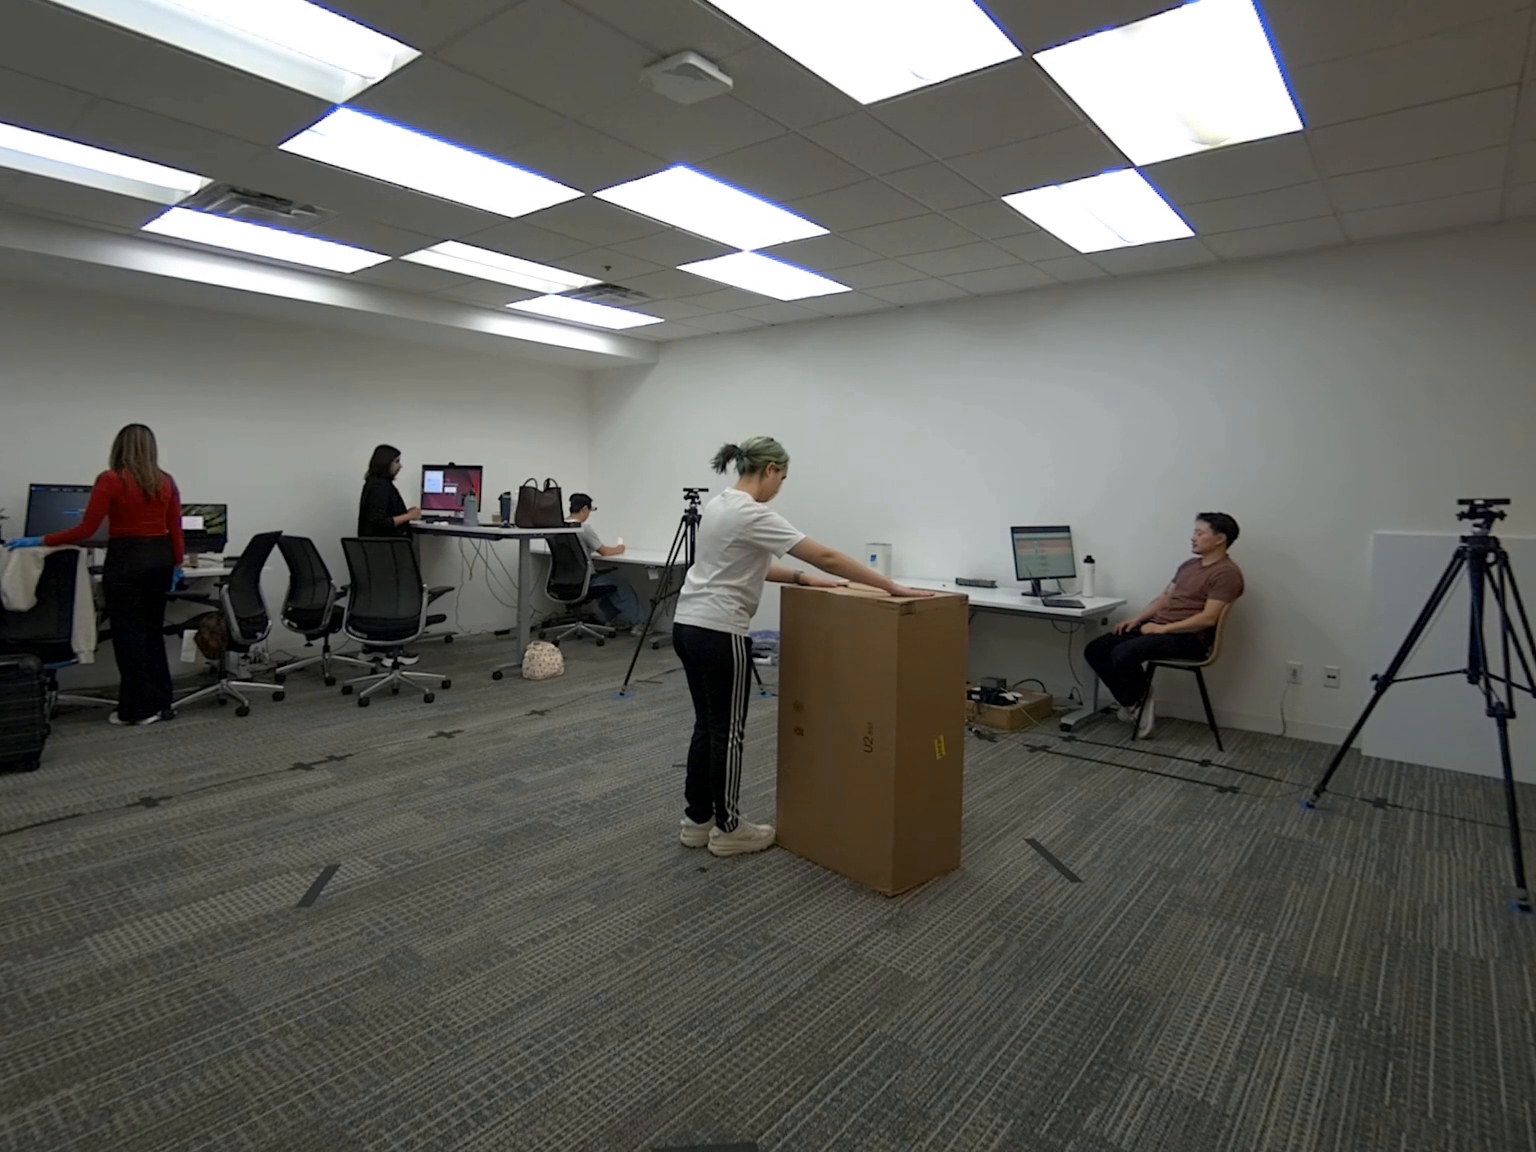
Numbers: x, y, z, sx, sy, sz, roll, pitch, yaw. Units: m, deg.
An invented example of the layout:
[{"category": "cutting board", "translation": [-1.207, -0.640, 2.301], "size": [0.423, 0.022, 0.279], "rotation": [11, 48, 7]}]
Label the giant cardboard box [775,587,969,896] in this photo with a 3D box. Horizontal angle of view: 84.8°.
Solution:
[{"category": "giant cardboard box", "translation": [0.384, 0.565, 3.248], "size": [0.433, 1.024, 0.604], "rotation": [-2, 4, -43]}]
